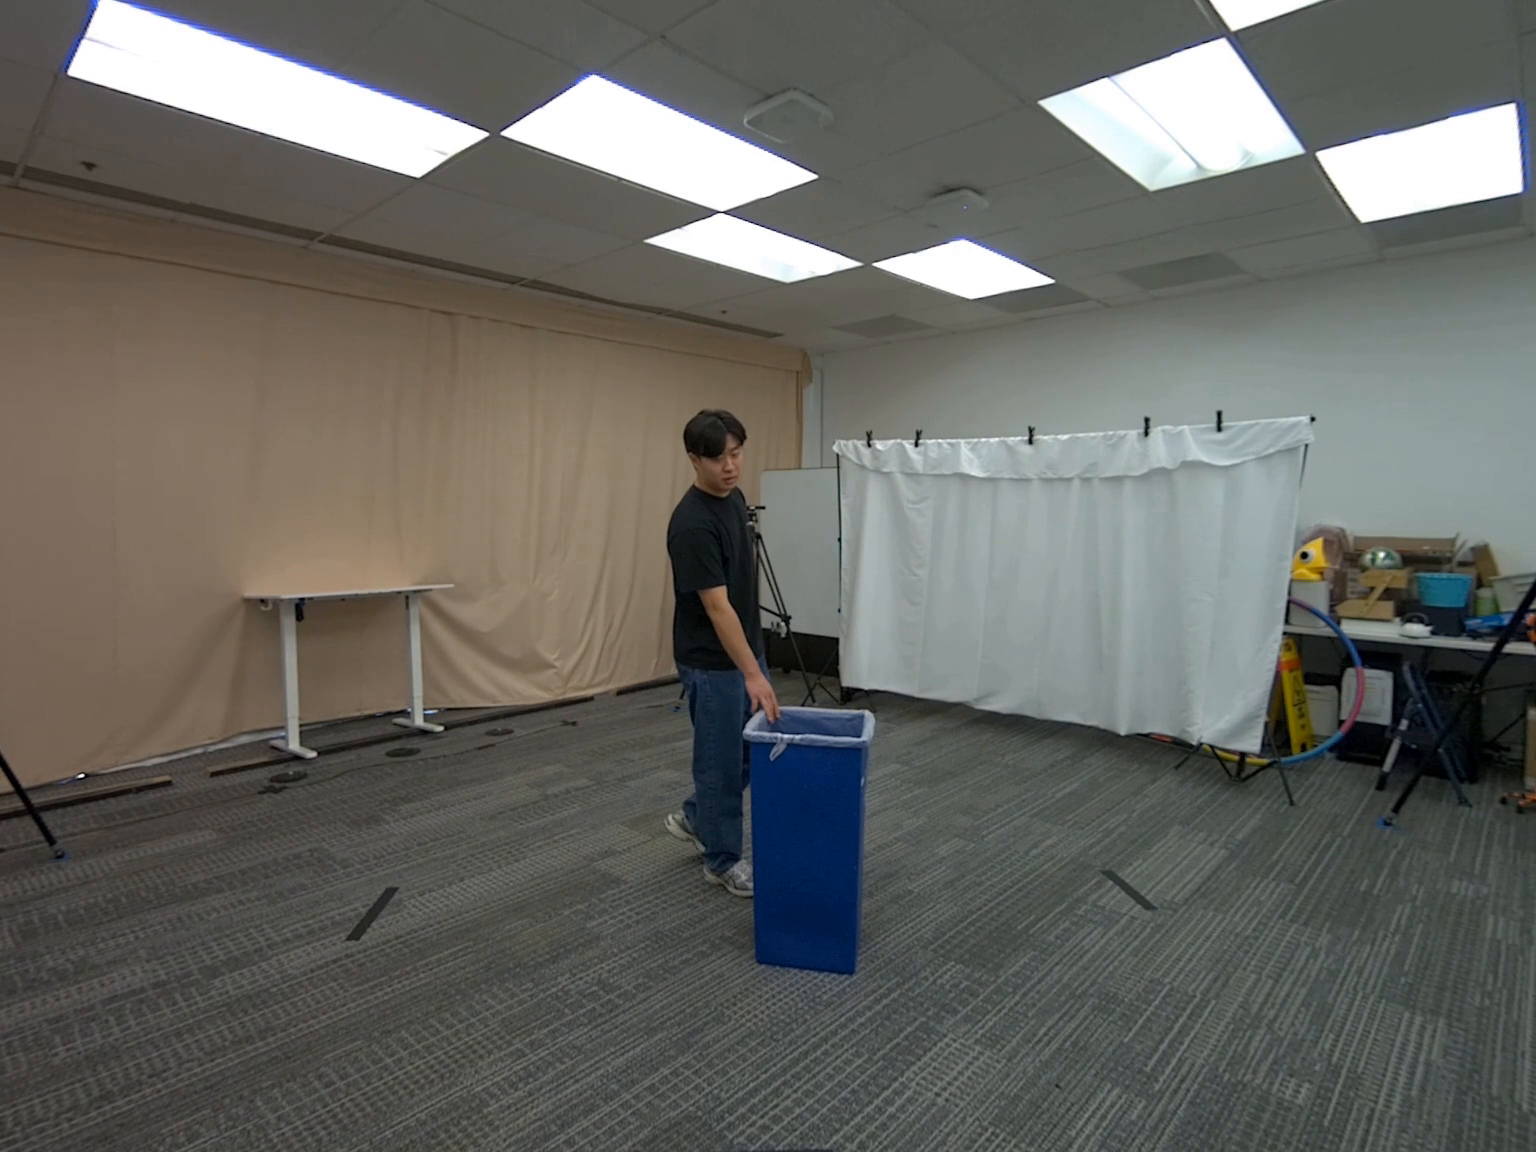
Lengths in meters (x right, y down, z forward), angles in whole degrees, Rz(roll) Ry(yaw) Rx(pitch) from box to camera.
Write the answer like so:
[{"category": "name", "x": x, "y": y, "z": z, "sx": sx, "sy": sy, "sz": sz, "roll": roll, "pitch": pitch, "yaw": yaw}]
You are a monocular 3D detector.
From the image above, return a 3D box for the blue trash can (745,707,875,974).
[{"category": "blue trash can", "x": 0.144, "y": 0.815, "z": 2.645, "sx": 0.383, "sy": 0.713, "sz": 0.370, "roll": 0, "pitch": 2, "yaw": 11}]
